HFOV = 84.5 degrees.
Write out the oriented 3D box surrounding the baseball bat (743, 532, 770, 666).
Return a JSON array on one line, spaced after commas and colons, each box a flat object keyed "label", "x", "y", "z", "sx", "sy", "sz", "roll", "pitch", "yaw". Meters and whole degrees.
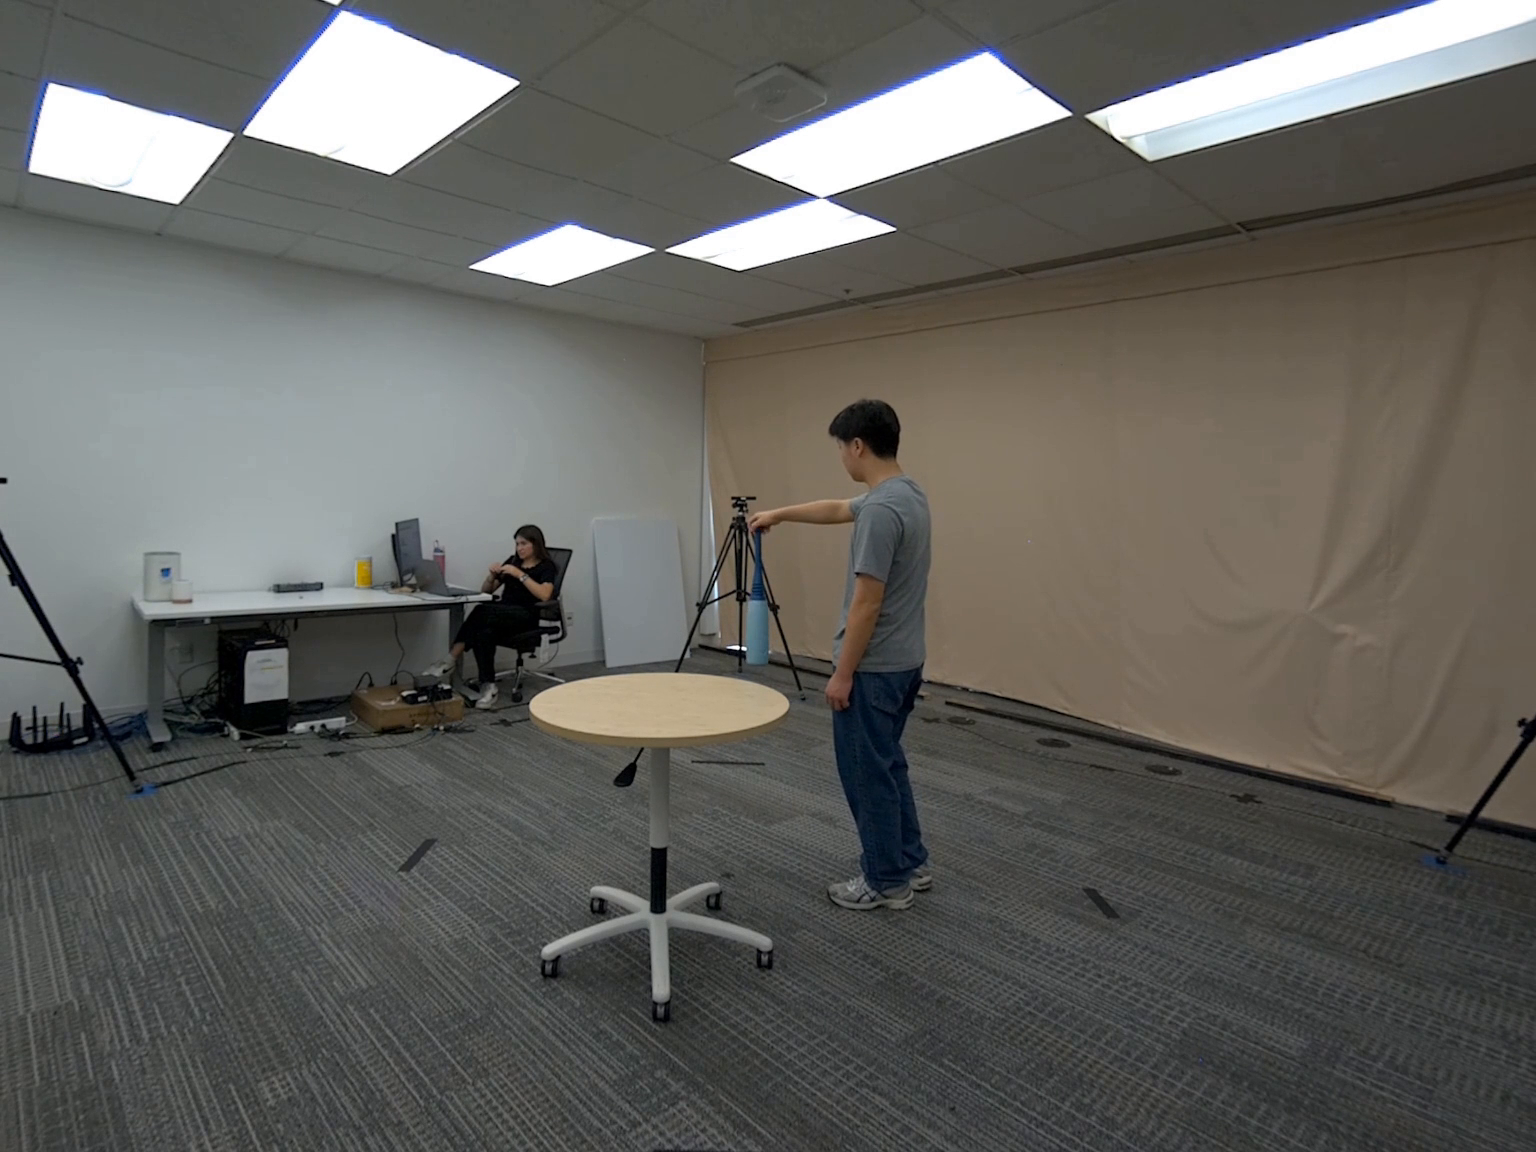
[{"label": "baseball bat", "x": -0.046, "y": 0.077, "z": 3.258, "sx": 0.089, "sy": 0.545, "sz": 0.089, "roll": -1, "pitch": -5, "yaw": -1}]
